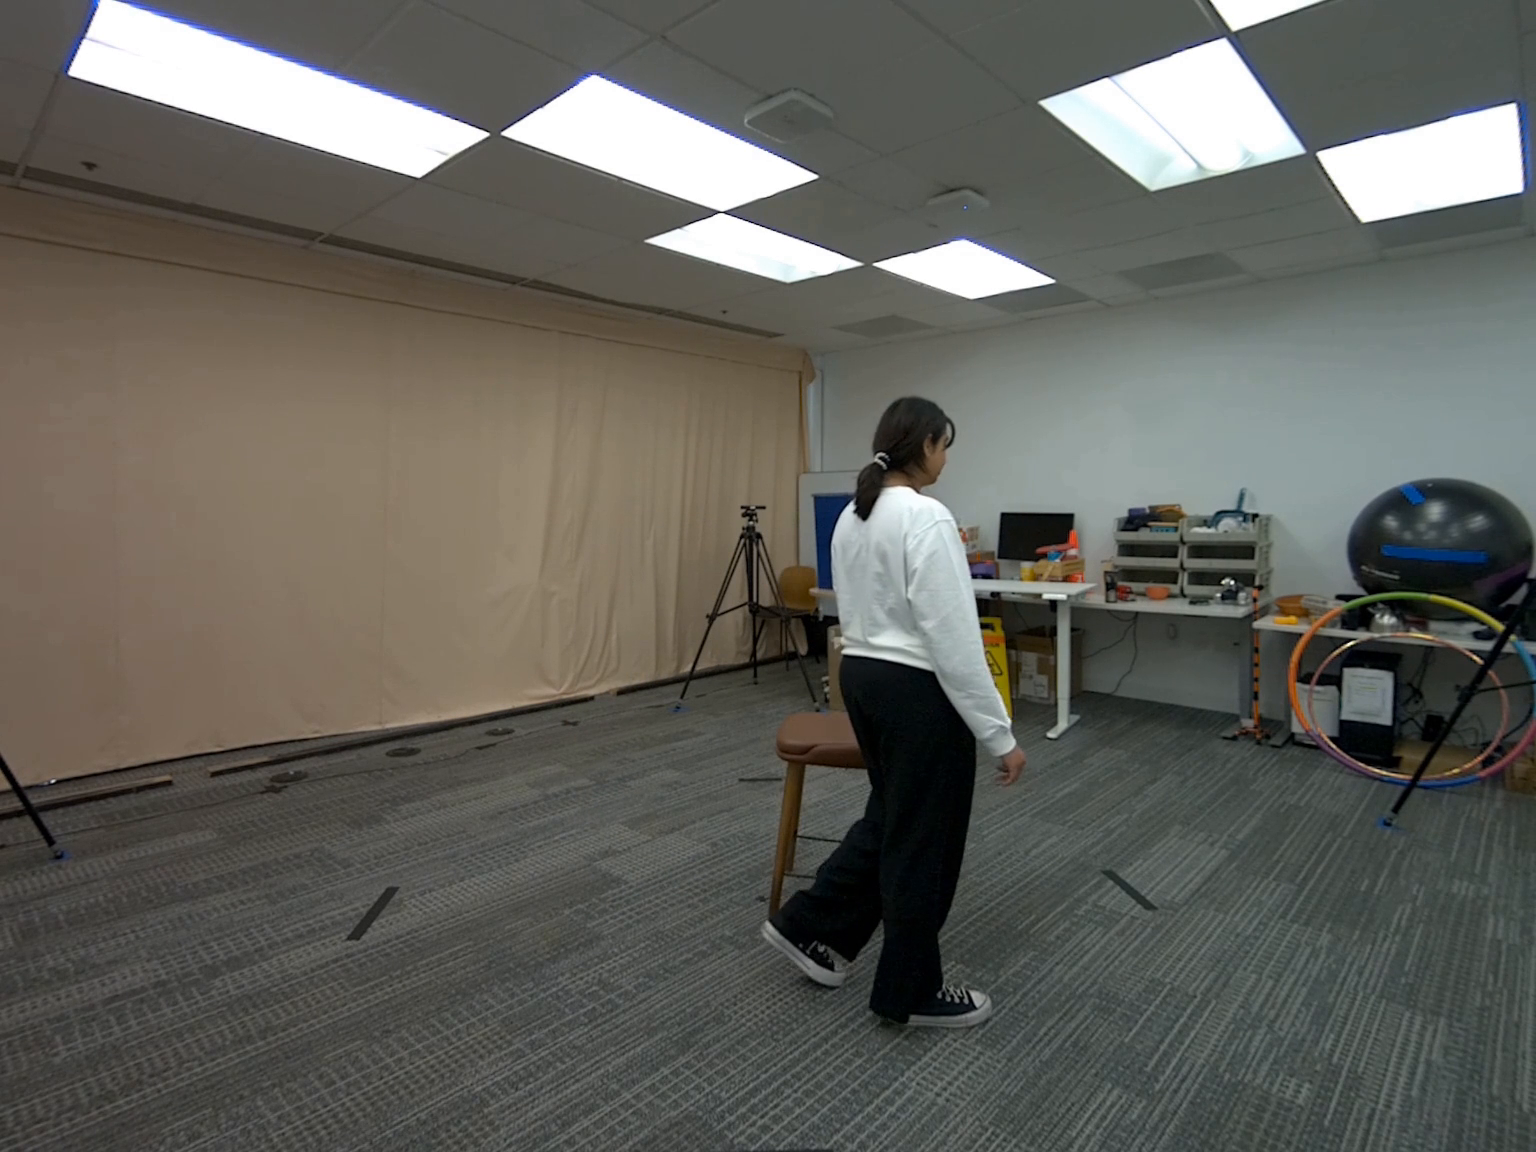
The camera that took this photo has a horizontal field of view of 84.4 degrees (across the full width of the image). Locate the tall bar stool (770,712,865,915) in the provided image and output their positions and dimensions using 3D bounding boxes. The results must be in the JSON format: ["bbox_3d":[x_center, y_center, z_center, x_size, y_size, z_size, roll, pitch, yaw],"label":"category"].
[{"bbox_3d":[0.271,0.710,2.961,0.474,0.887,0.451,3,4,12],"label":"tall bar stool"}]
